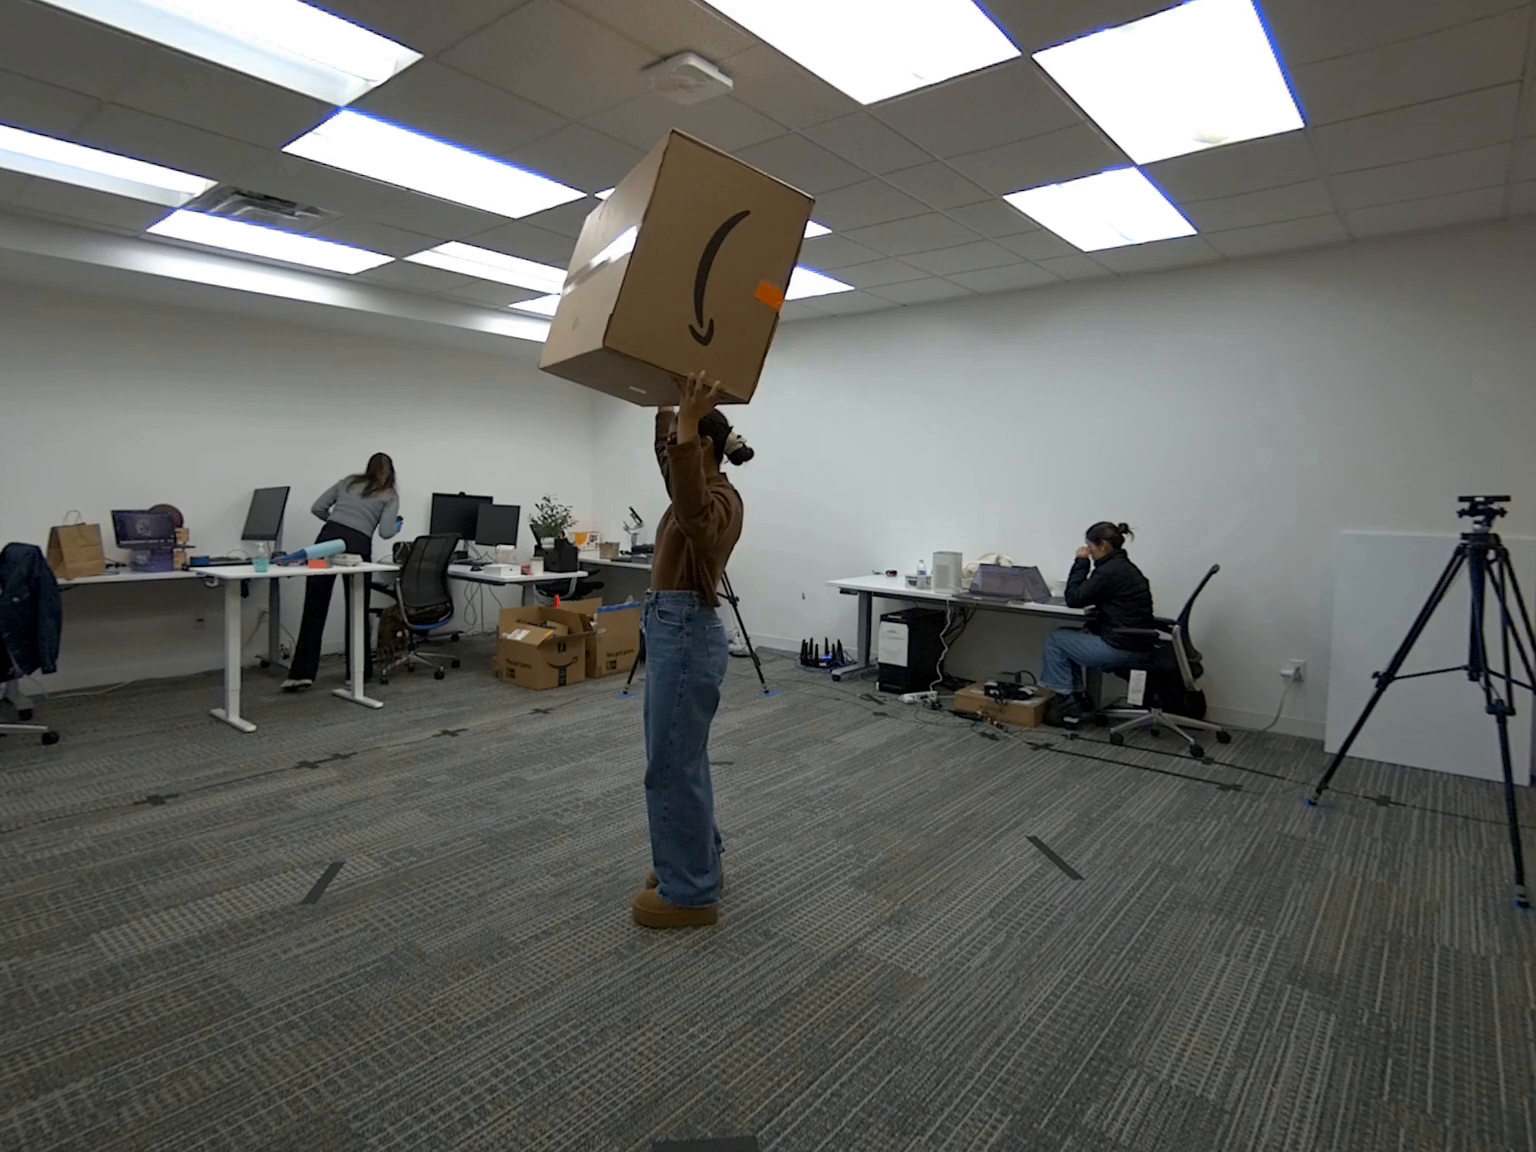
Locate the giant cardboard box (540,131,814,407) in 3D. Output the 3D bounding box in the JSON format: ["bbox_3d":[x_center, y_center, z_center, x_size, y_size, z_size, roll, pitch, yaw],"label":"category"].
[{"bbox_3d":[-0.353,-0.871,2.657,0.414,0.577,1.056,18,2,-25],"label":"giant cardboard box"}]
